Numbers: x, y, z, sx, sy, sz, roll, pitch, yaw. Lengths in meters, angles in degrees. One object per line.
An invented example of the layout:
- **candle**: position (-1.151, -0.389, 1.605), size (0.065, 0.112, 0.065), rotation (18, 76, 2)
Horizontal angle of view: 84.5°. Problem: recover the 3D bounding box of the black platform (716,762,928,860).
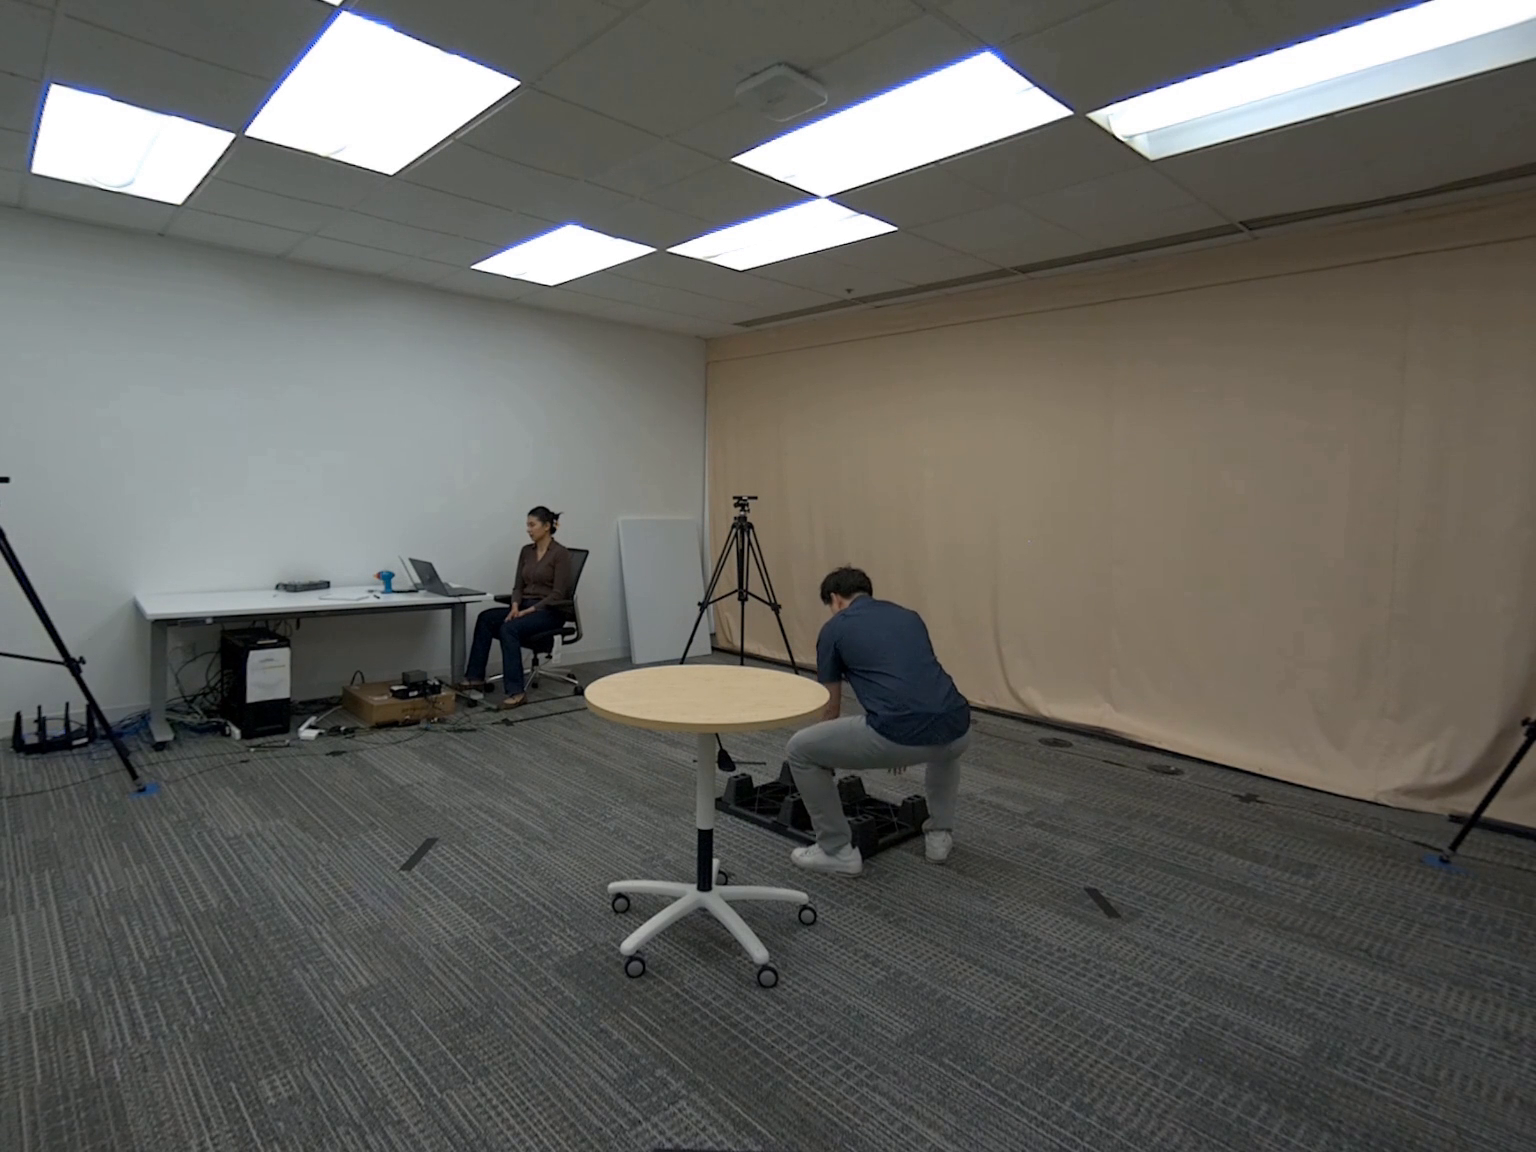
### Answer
- **black platform**: position (0.244, 0.993, 3.702), size (0.826, 0.143, 0.591), rotation (7, 7, 43)
